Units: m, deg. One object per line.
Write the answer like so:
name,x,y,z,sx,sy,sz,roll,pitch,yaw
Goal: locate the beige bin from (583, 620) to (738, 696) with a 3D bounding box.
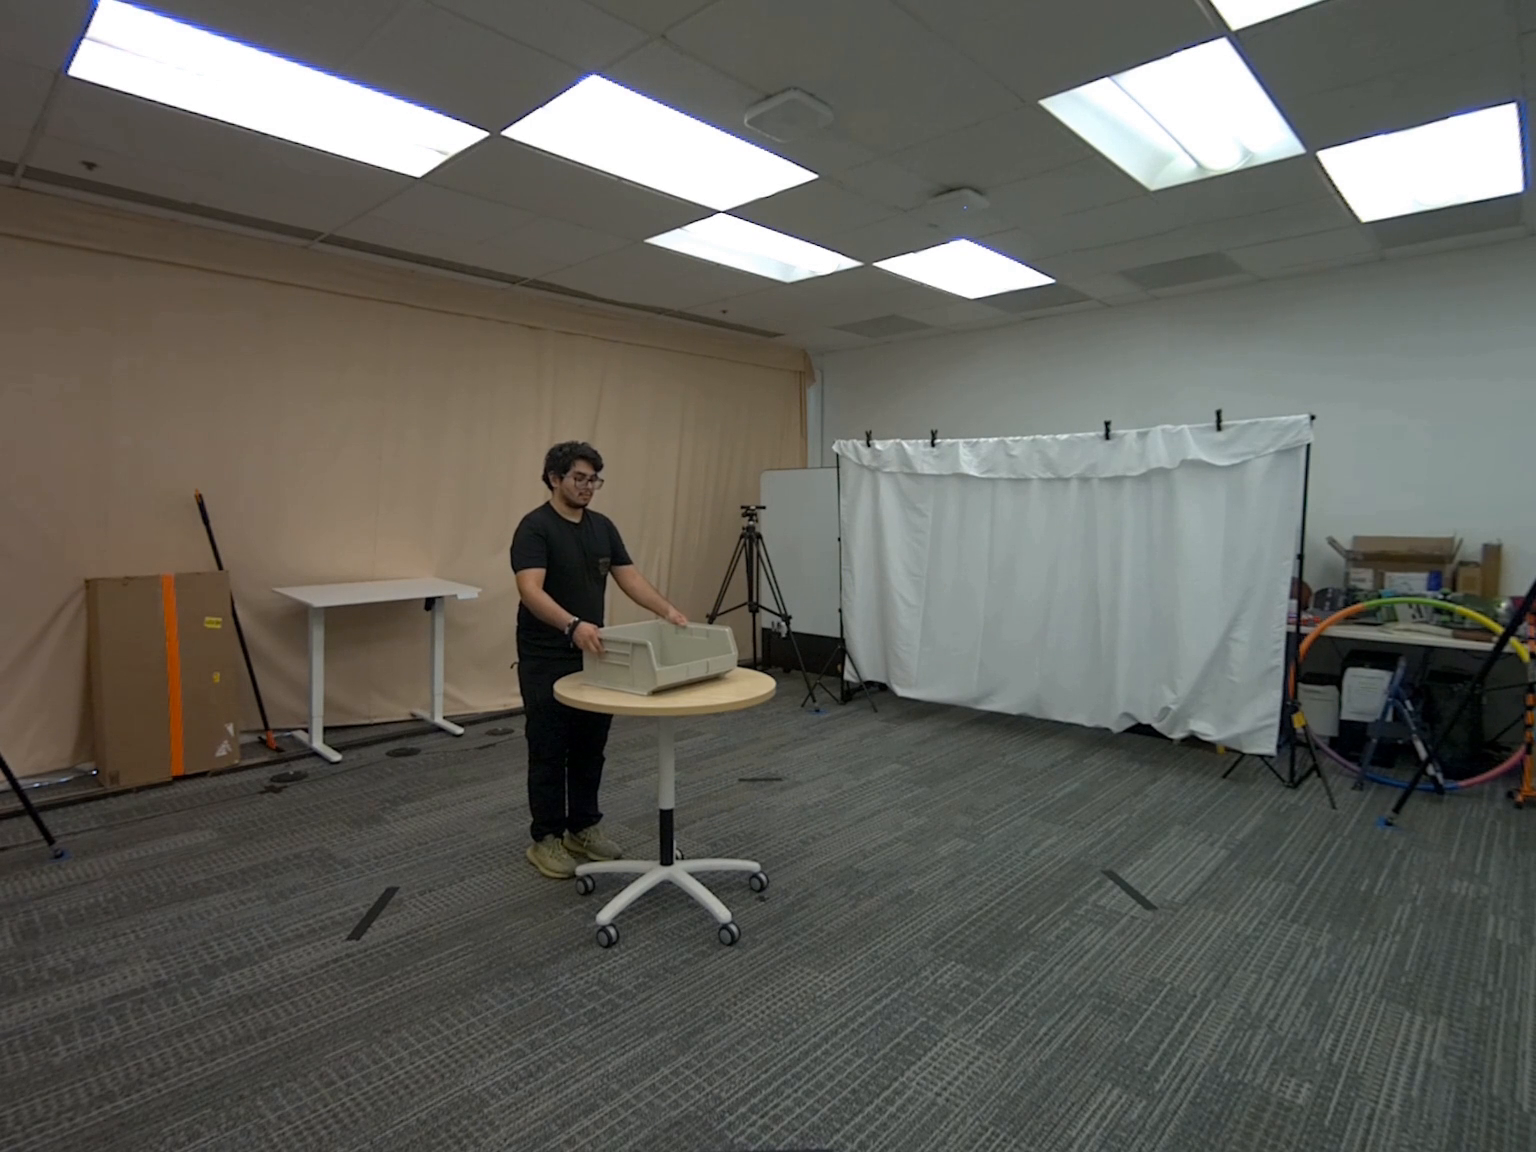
beige bin,-0.376,0.274,2.929,0.389,0.189,0.410,2,4,38
